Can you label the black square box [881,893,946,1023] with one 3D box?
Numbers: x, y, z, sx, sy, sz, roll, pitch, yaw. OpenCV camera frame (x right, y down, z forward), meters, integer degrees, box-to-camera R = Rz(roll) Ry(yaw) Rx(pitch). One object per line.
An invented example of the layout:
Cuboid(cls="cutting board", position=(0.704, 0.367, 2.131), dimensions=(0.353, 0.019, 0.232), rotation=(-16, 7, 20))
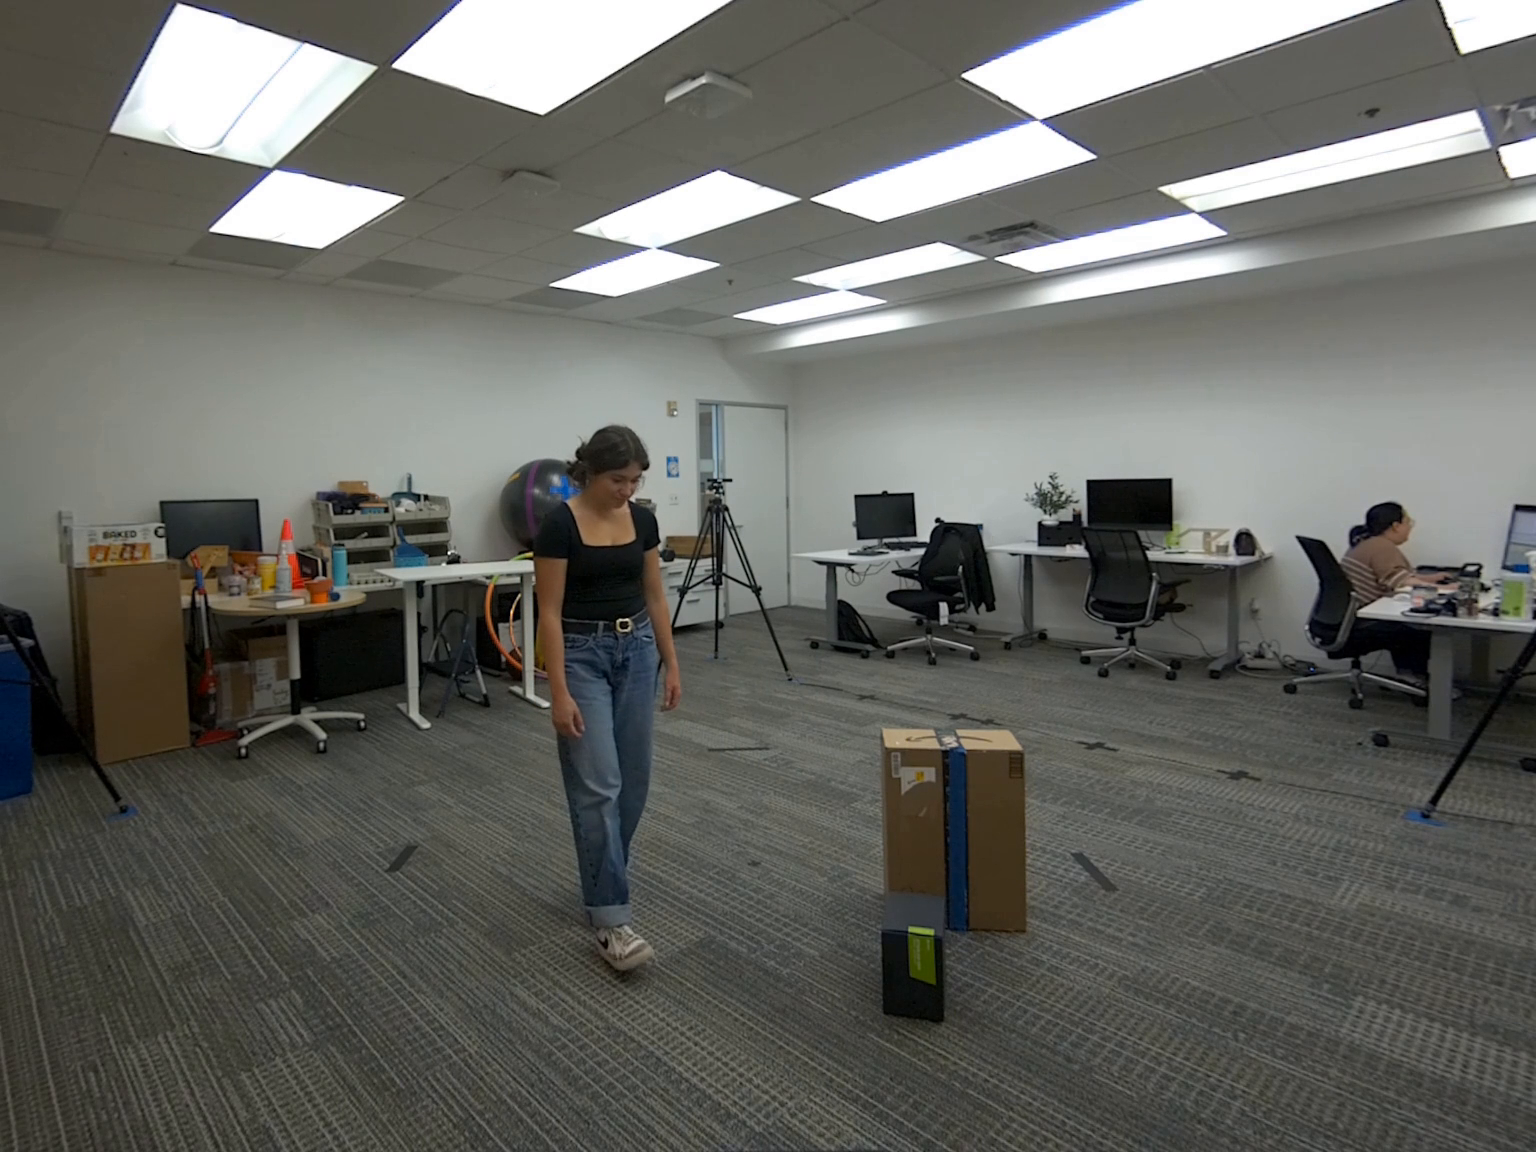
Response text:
Cuboid(cls="black square box", position=(0.394, 1.006, 2.294), dimensions=(0.158, 0.227, 0.215), rotation=(-1, 5, 14))
